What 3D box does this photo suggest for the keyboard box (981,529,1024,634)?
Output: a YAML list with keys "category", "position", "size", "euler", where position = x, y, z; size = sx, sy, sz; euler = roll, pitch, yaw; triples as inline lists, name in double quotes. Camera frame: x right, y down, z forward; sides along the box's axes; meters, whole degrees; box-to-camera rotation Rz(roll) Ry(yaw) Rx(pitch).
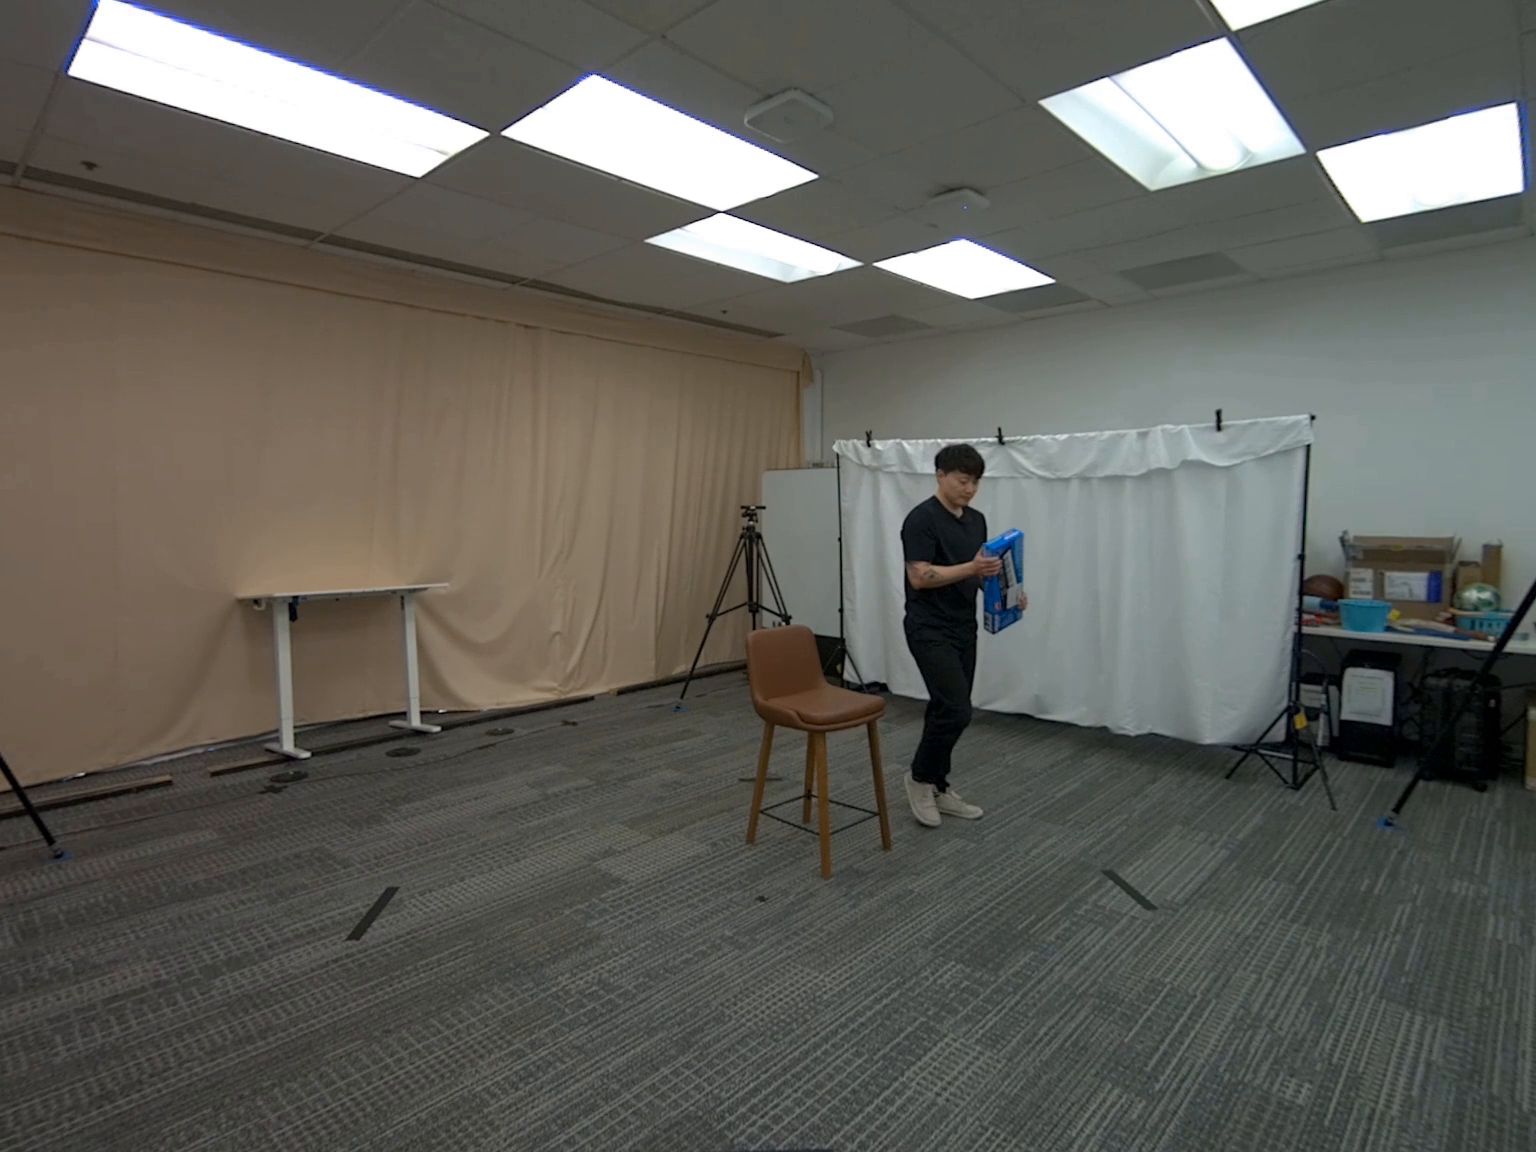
- category: "keyboard box"
  position: [0.994, 0.027, 3.534]
  size: [0.173, 0.427, 0.061]
  euler: [-25, 35, -22]
